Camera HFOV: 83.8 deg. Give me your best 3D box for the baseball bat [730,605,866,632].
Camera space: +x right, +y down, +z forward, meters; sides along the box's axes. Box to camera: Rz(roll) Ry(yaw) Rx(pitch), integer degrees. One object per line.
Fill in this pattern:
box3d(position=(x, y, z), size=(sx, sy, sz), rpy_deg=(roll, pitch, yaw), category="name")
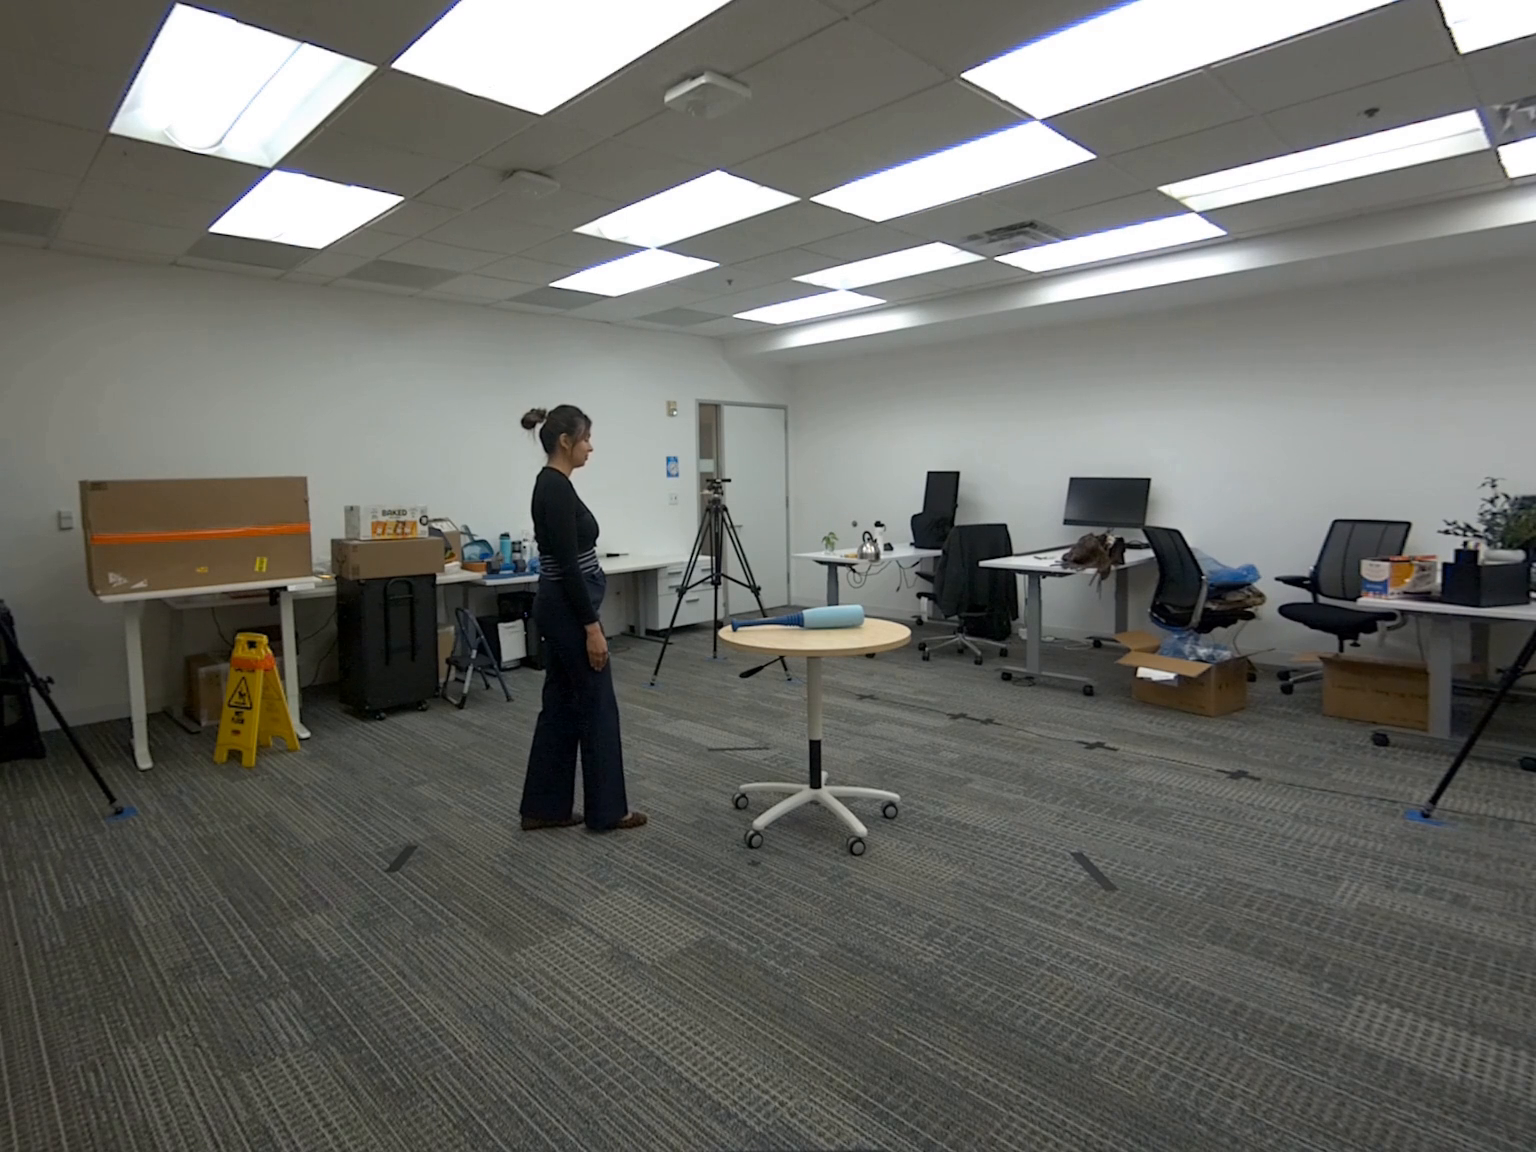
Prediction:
box3d(position=(0.118, 0.178, 3.475), size=(0.542, 0.089, 0.089), rpy_deg=(-4, 5, -3), category="baseball bat")
